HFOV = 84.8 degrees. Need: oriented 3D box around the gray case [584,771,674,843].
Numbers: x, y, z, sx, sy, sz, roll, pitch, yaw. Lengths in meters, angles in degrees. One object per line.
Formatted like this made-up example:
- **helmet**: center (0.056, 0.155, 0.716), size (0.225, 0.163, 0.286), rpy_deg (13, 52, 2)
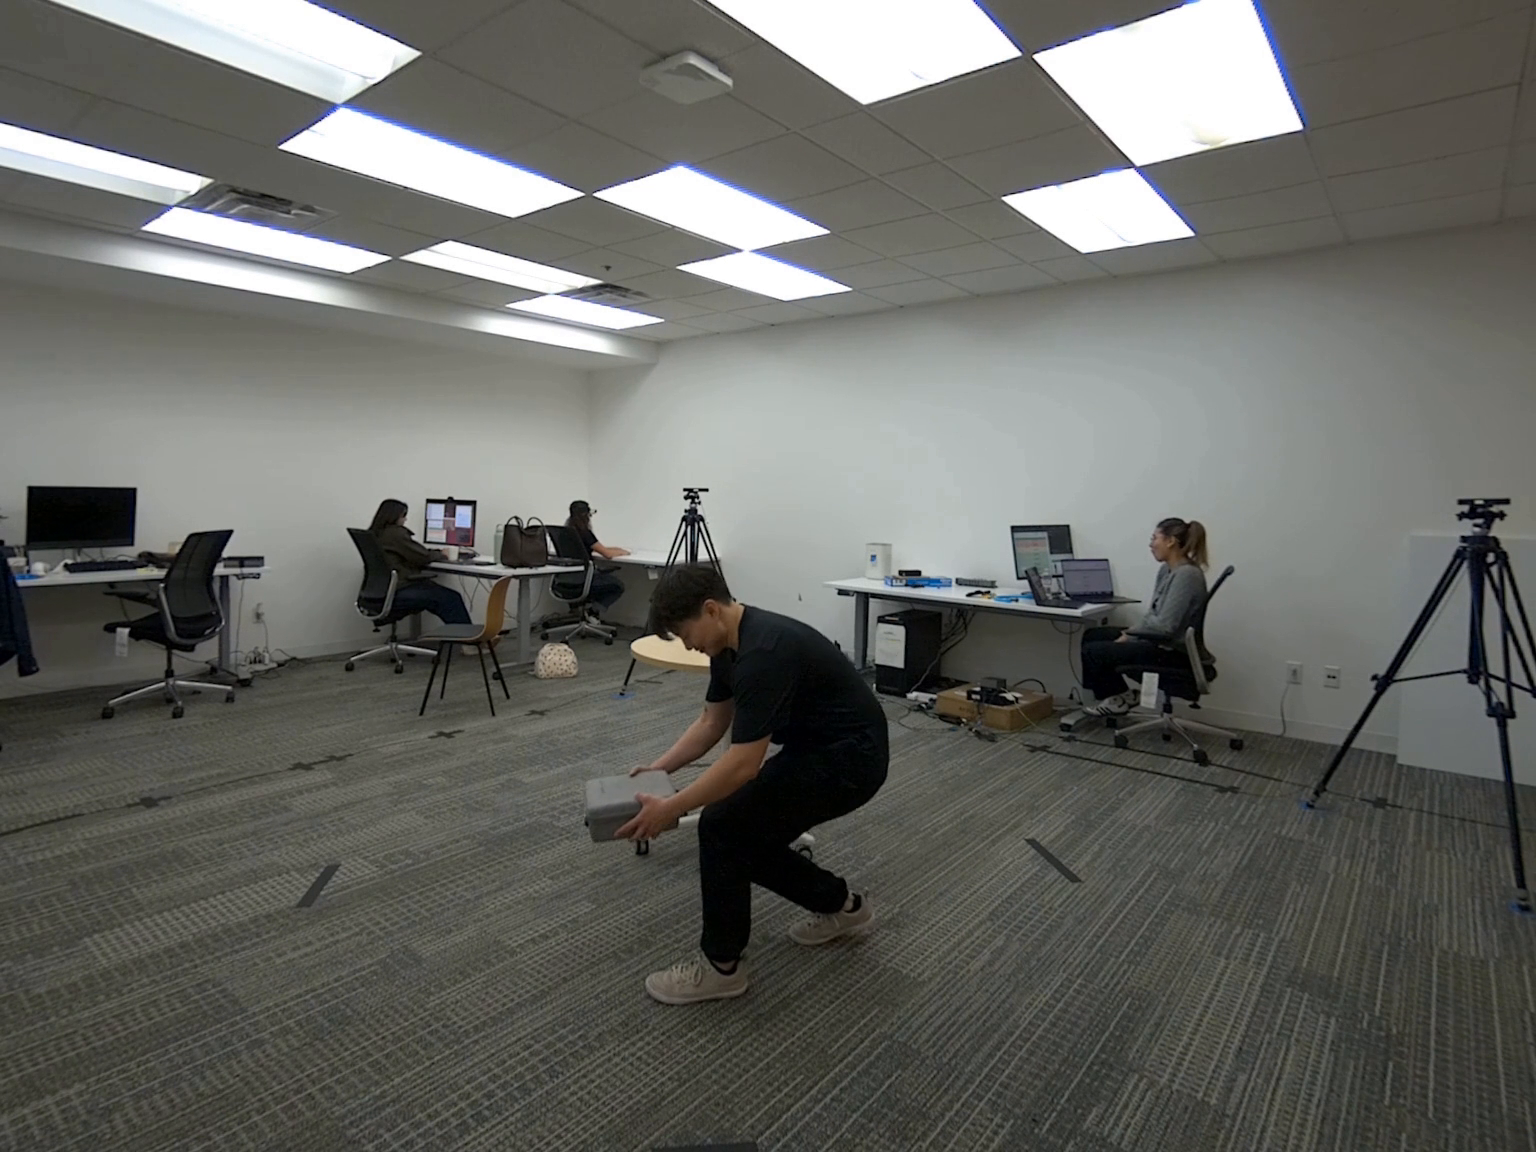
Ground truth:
- **gray case**: center (-0.401, 0.643, 2.410), size (0.258, 0.104, 0.261), rpy_deg (-4, 7, -12)
